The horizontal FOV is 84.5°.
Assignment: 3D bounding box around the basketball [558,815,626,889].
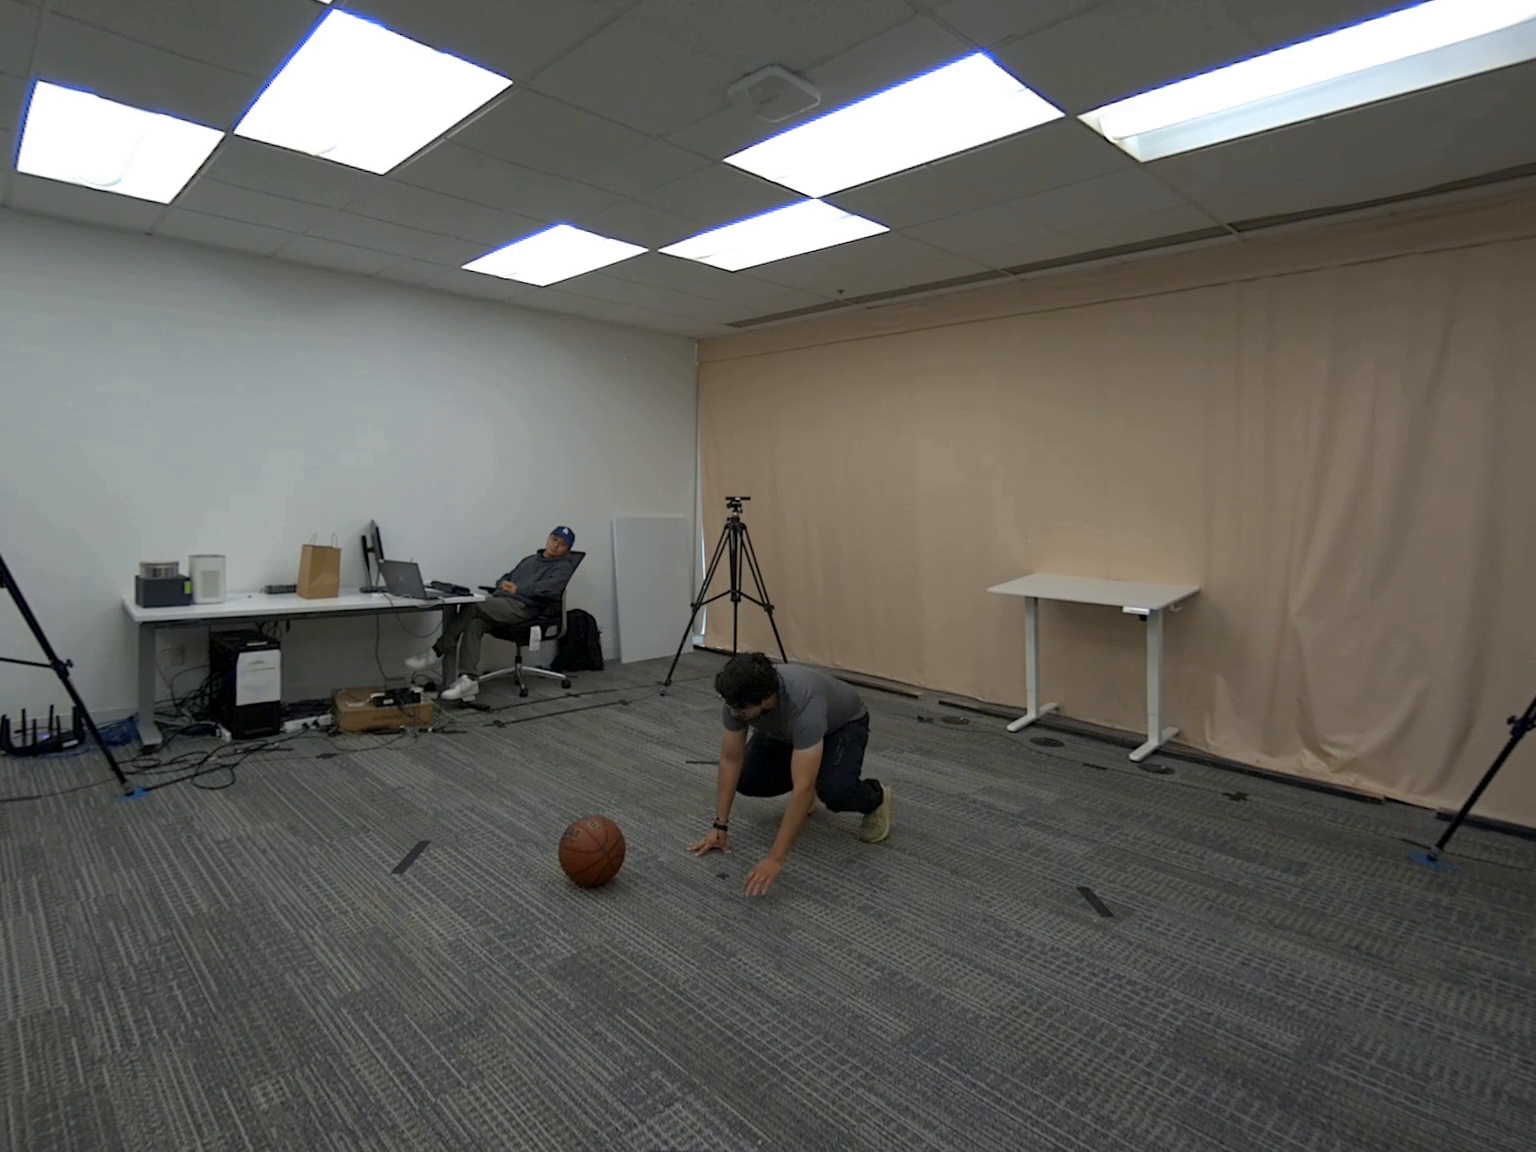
[{"bbox_3d":[-0.642,0.987,3.015,0.236,0.235,0.237,1,4,-1],"label":"basketball"}]
